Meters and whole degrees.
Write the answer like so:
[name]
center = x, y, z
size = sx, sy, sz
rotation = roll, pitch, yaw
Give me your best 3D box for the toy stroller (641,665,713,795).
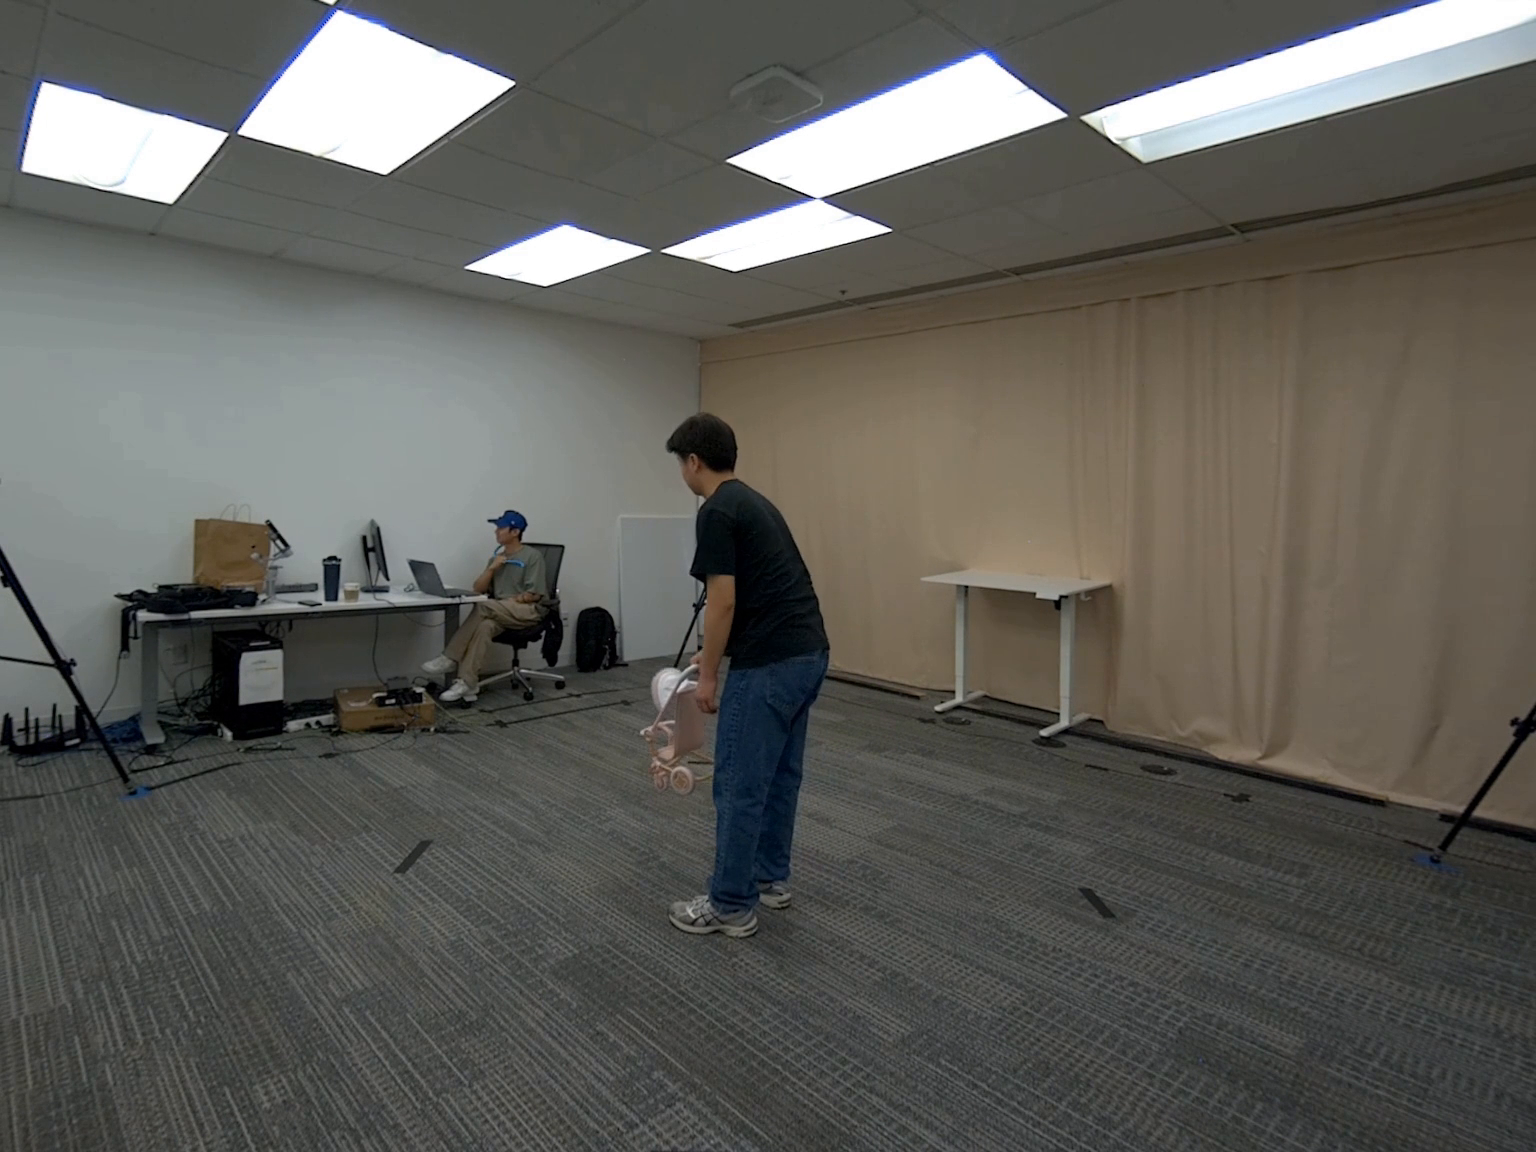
[toy stroller]
center = -0.354, 0.604, 3.316
size = 0.349, 0.533, 0.276
rotation = -2, 4, 42
